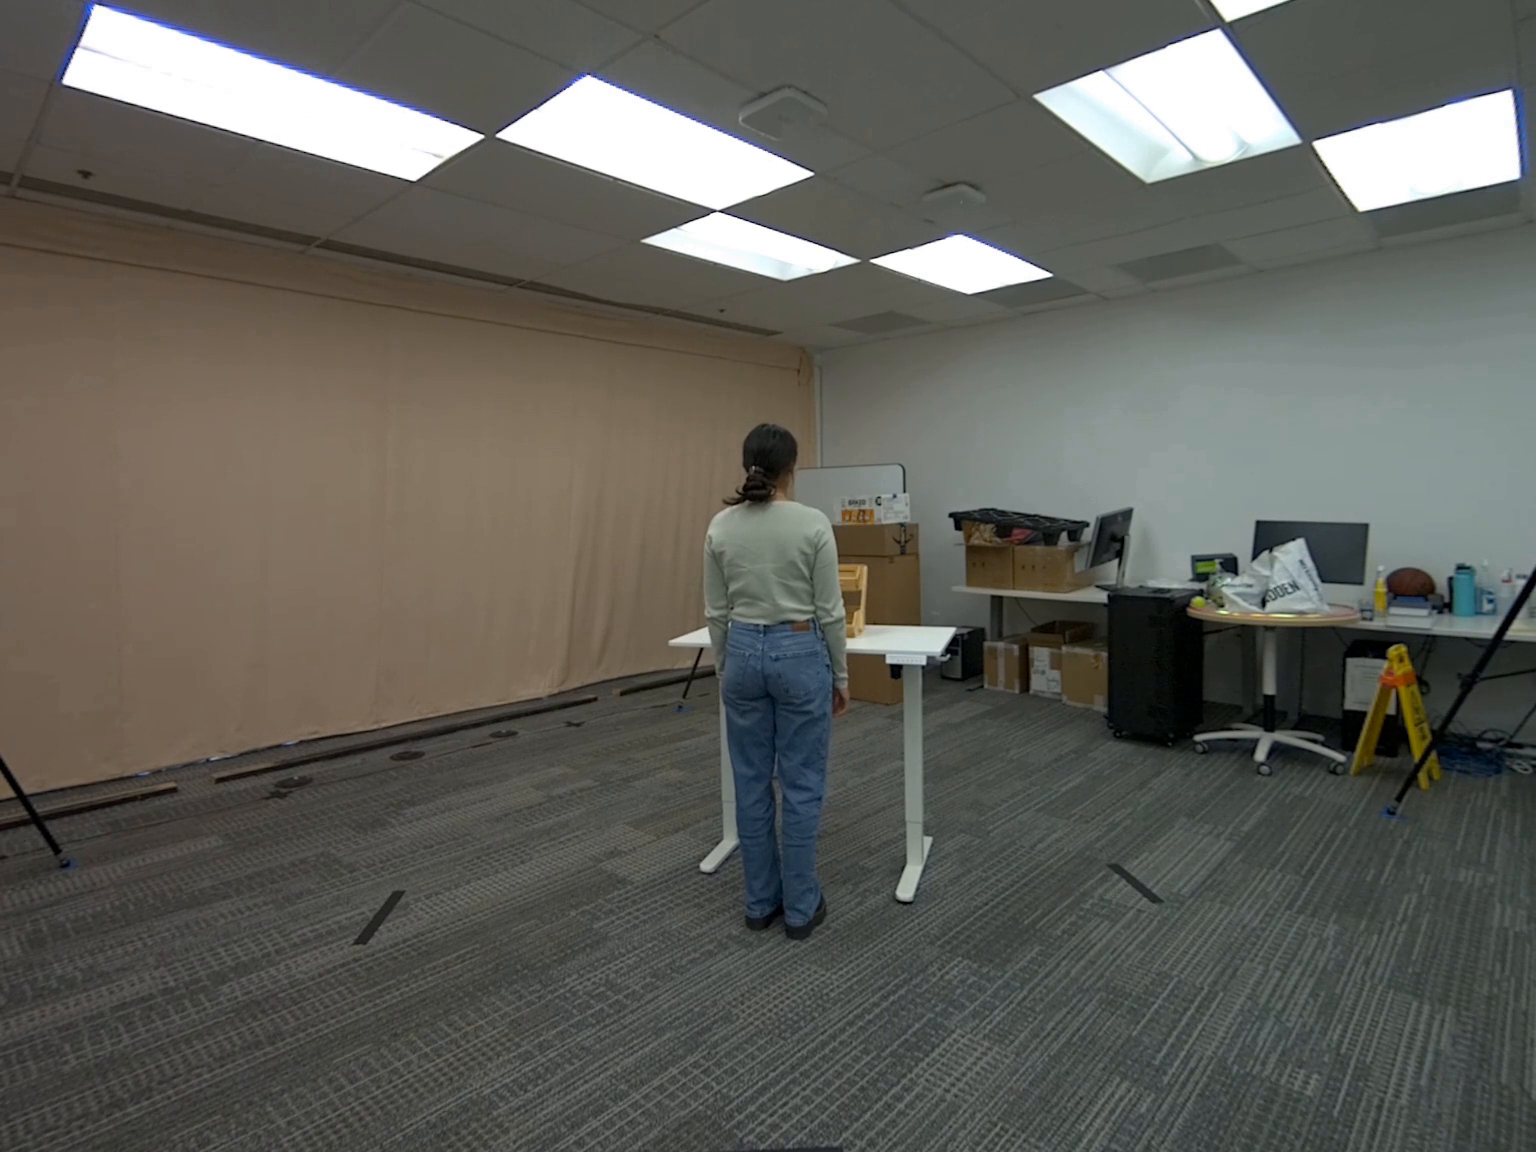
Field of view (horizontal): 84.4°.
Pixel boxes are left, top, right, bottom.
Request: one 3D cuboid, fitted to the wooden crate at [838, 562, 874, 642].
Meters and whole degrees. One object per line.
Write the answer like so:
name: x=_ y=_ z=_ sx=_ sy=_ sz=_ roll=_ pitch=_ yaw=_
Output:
wooden crate: x=0.224 y=0.091 z=3.329 sx=0.331 sy=0.273 sz=0.297 roll=0 pitch=3 yaw=17
